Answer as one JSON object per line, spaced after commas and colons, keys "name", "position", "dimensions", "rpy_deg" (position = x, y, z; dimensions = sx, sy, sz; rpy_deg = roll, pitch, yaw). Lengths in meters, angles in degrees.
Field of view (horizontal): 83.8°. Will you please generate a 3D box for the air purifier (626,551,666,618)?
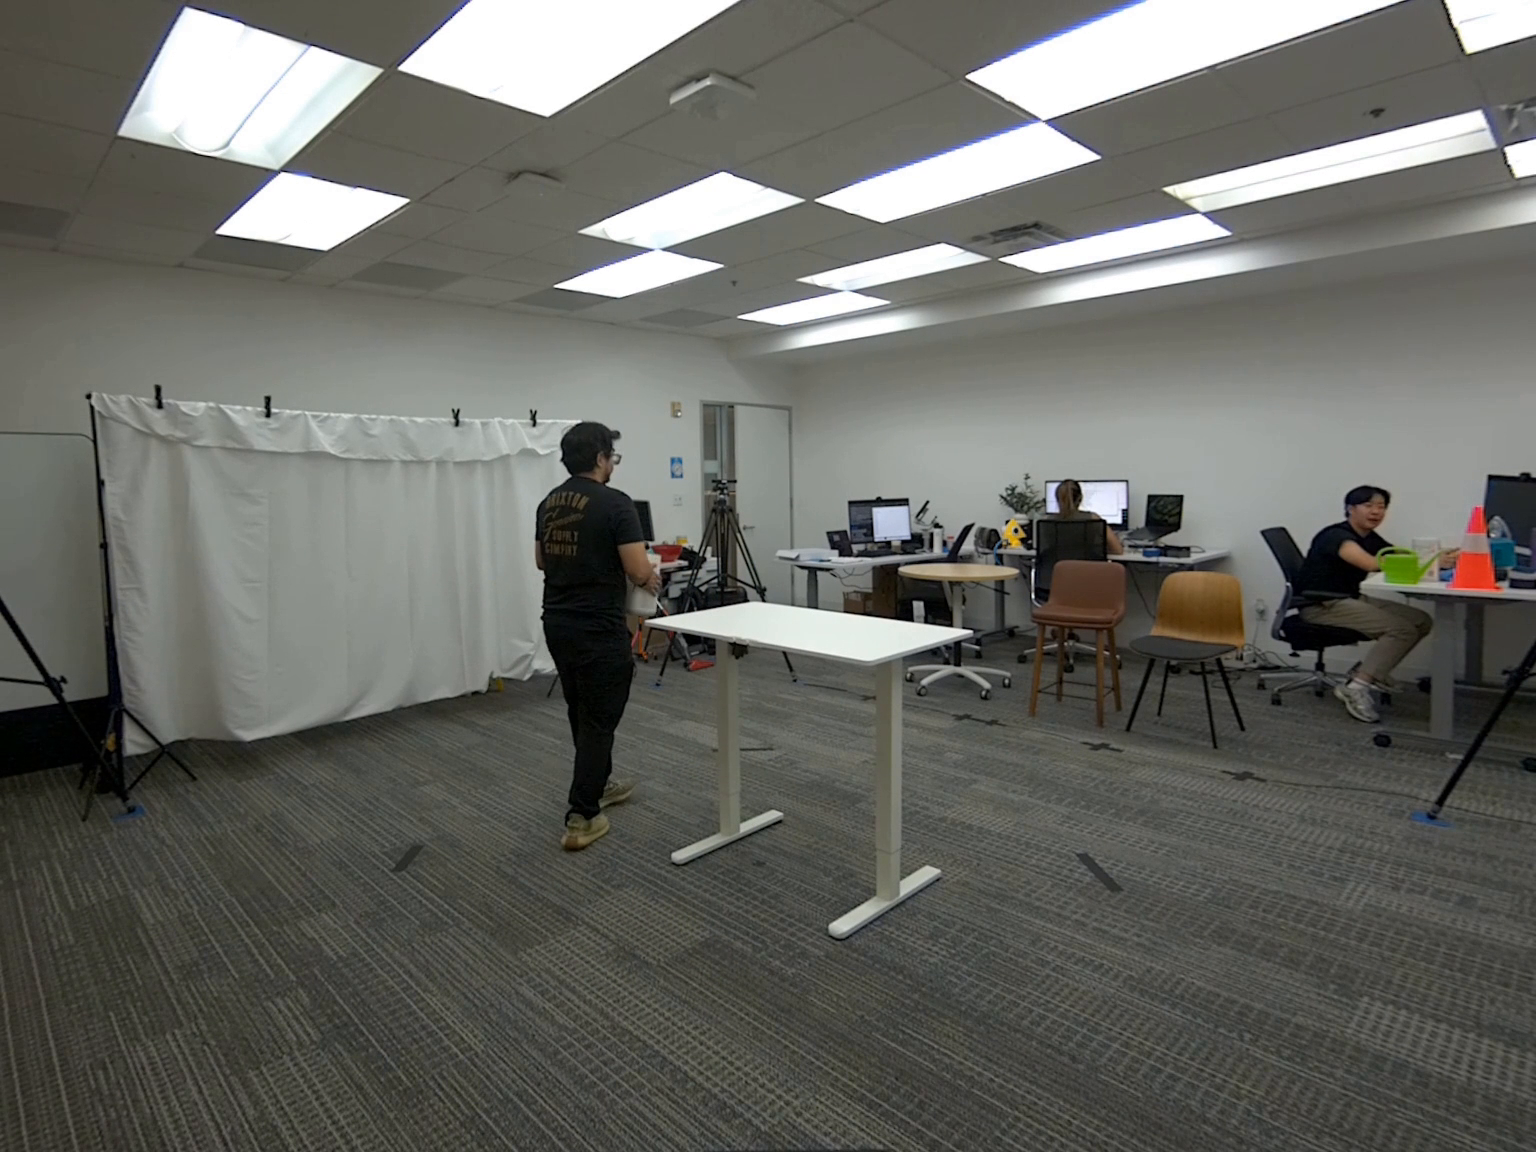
{"name": "air purifier", "position": [-0.561, 0.033, 3.626], "dimensions": [0.175, 0.267, 0.166], "rpy_deg": [-1, -6, 30]}
